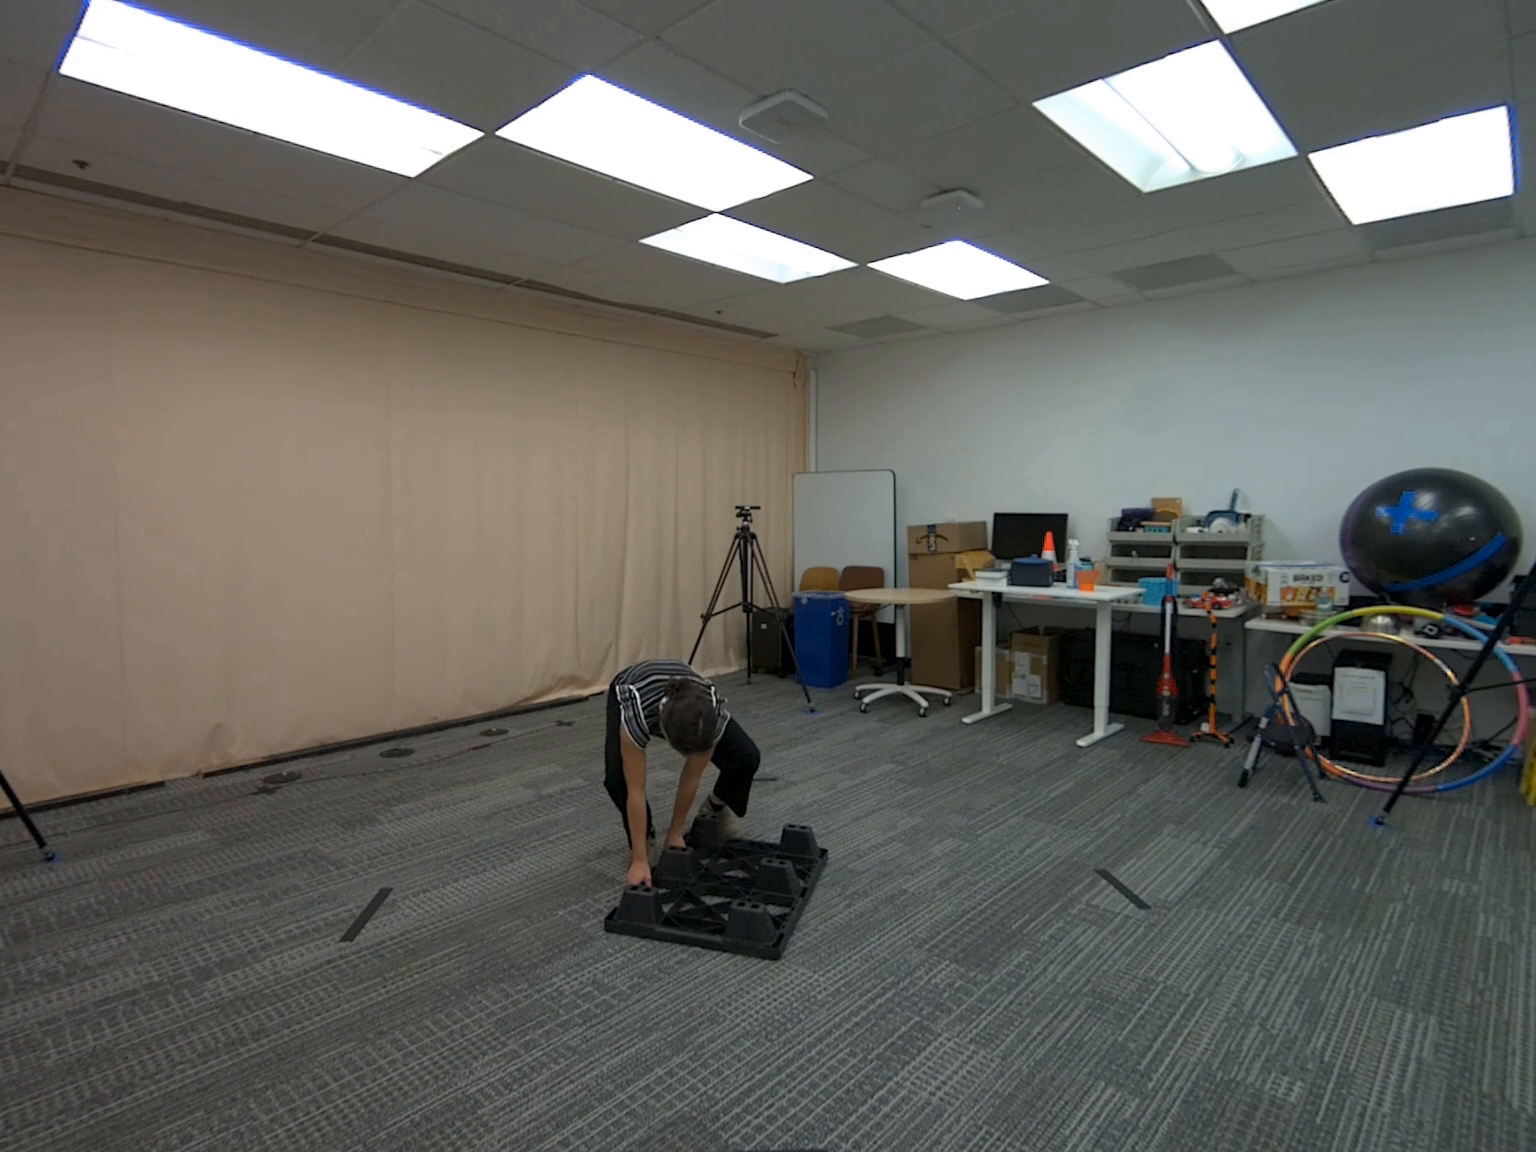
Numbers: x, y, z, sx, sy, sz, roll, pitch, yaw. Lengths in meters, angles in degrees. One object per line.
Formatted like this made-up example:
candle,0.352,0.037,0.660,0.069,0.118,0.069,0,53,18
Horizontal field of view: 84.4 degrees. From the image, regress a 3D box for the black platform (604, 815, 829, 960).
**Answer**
black platform,-0.152,1.073,3.039,0.617,0.143,0.792,1,5,17
